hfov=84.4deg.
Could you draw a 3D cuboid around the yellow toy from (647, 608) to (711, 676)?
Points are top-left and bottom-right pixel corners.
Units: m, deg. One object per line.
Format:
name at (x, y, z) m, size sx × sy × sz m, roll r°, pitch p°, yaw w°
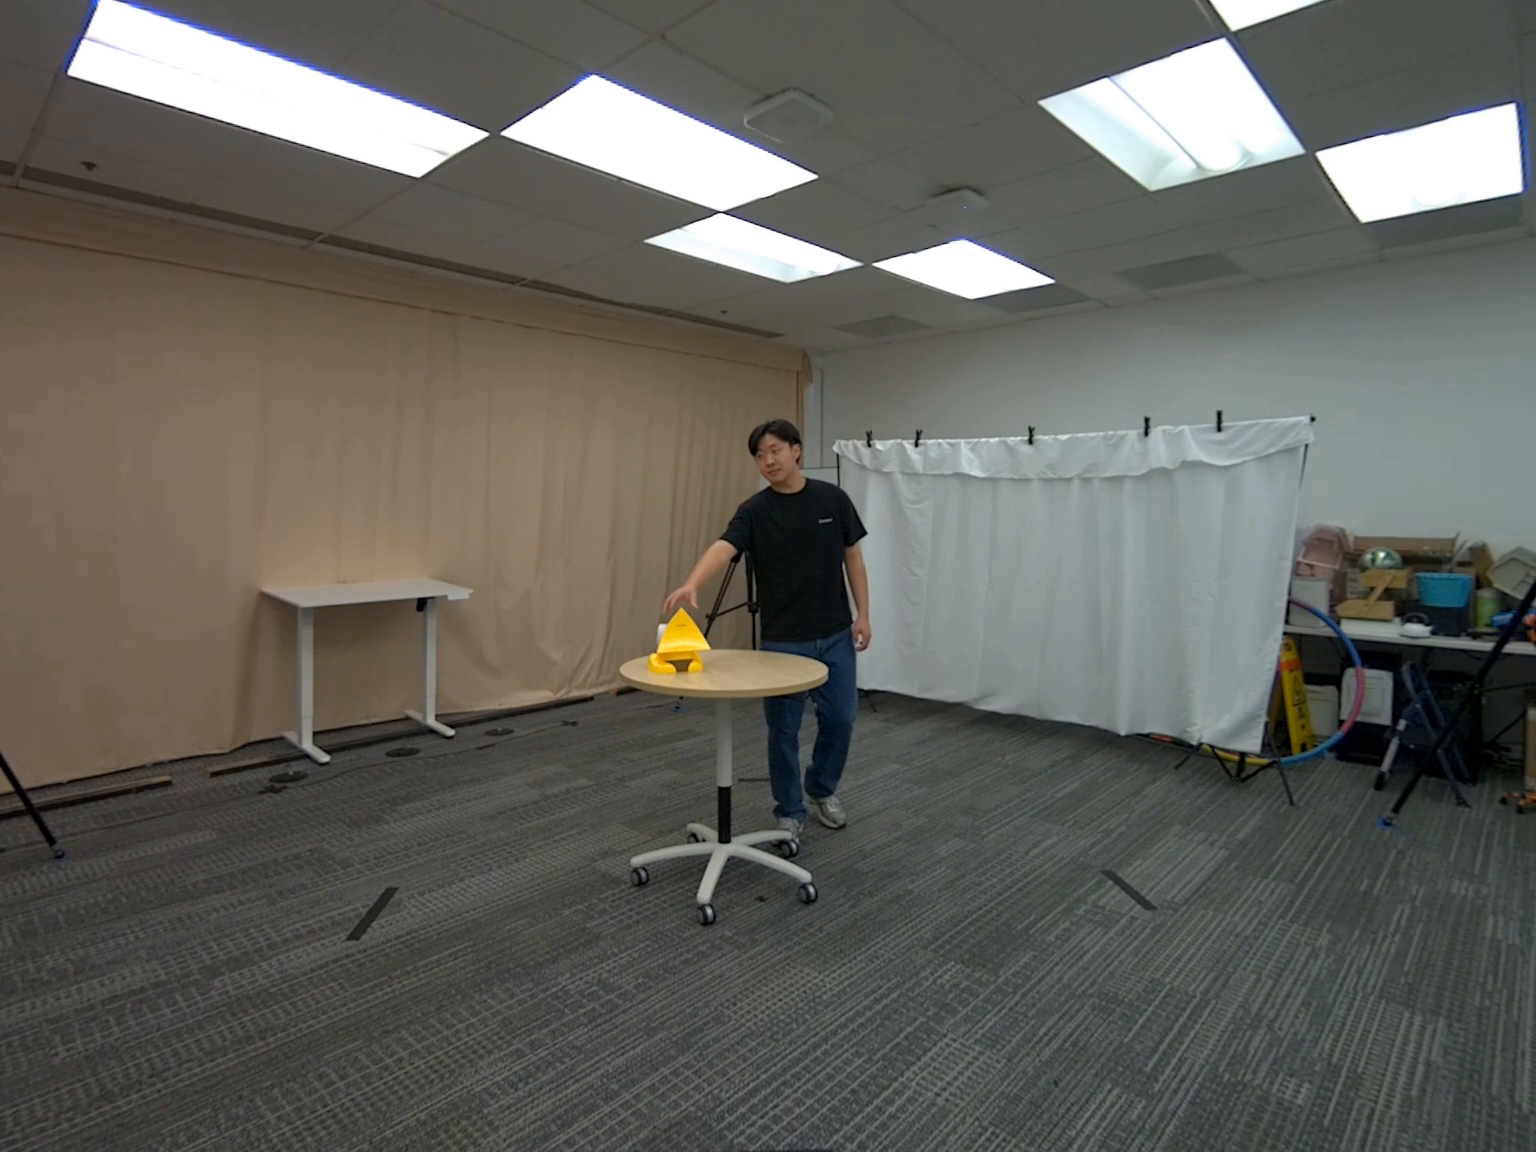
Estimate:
yellow toy at (-0.337, 0.225, 3.080) m, size 0.200 × 0.230 × 0.198 m, roll -2°, pitch 5°, yaw -25°
